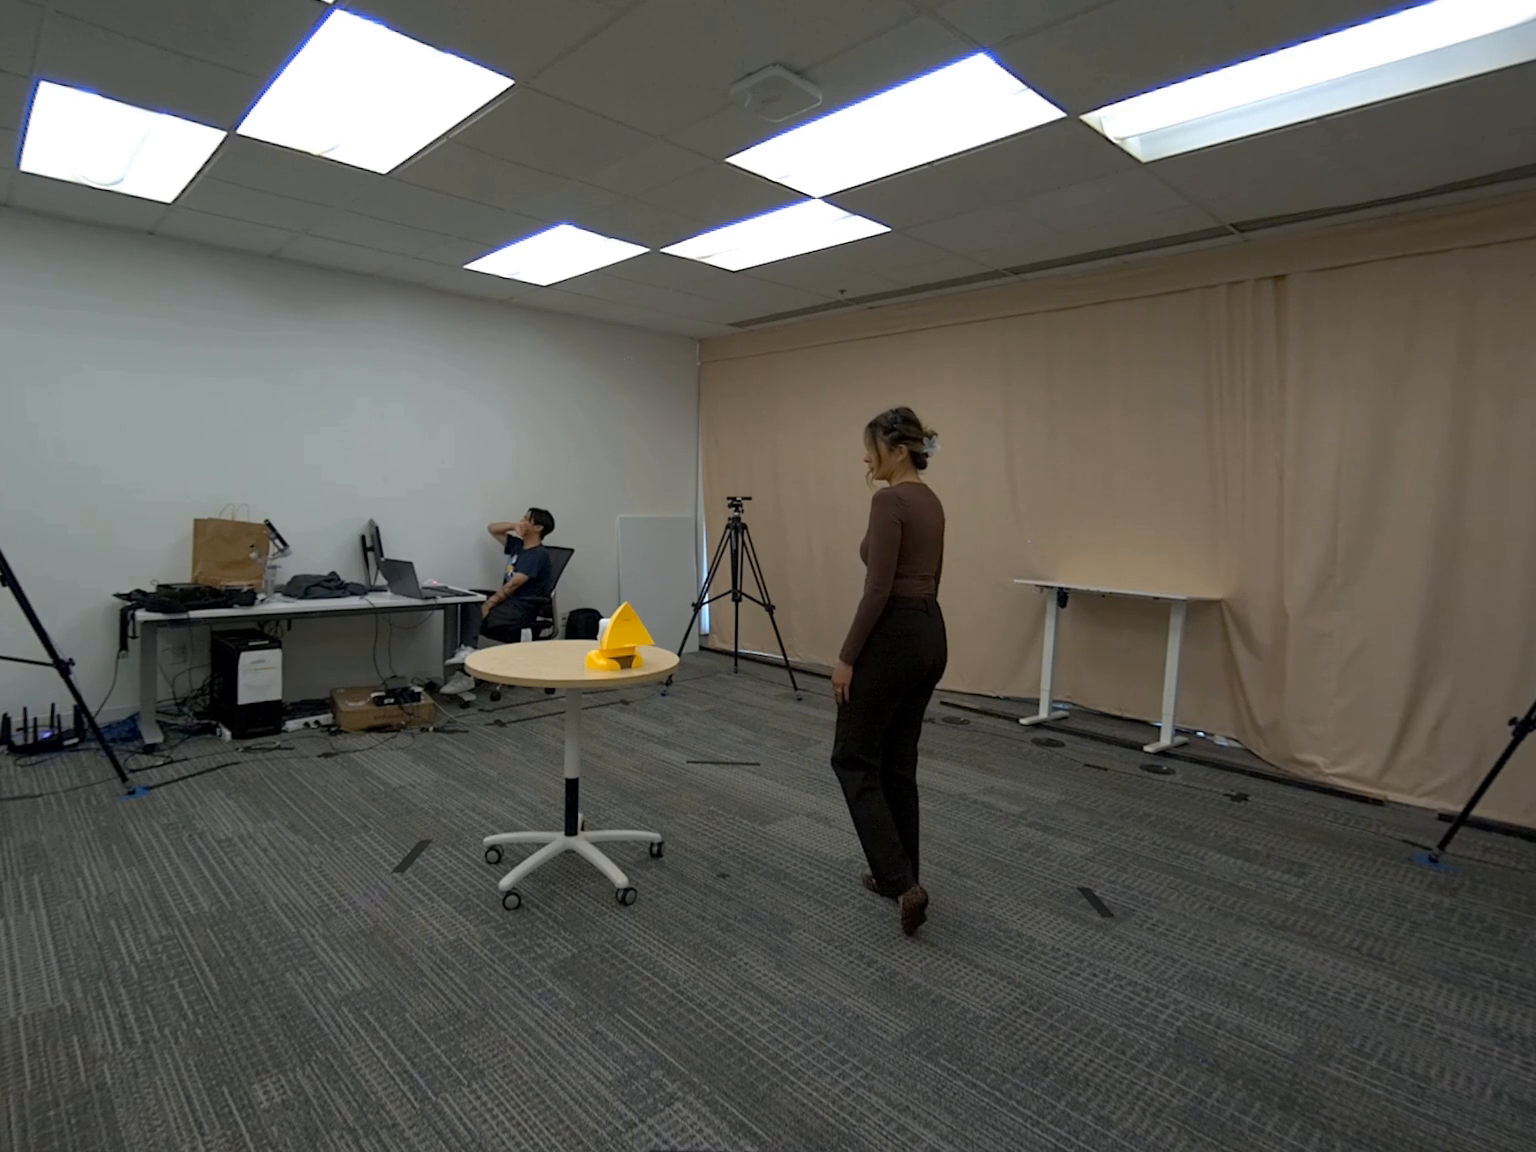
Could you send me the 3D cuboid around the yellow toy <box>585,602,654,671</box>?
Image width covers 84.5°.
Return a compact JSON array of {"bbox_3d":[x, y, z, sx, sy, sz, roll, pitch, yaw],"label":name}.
[{"bbox_3d":[-0.534,0.200,2.948,0.200,0.230,0.198,-2,5,-41],"label":"yellow toy"}]
